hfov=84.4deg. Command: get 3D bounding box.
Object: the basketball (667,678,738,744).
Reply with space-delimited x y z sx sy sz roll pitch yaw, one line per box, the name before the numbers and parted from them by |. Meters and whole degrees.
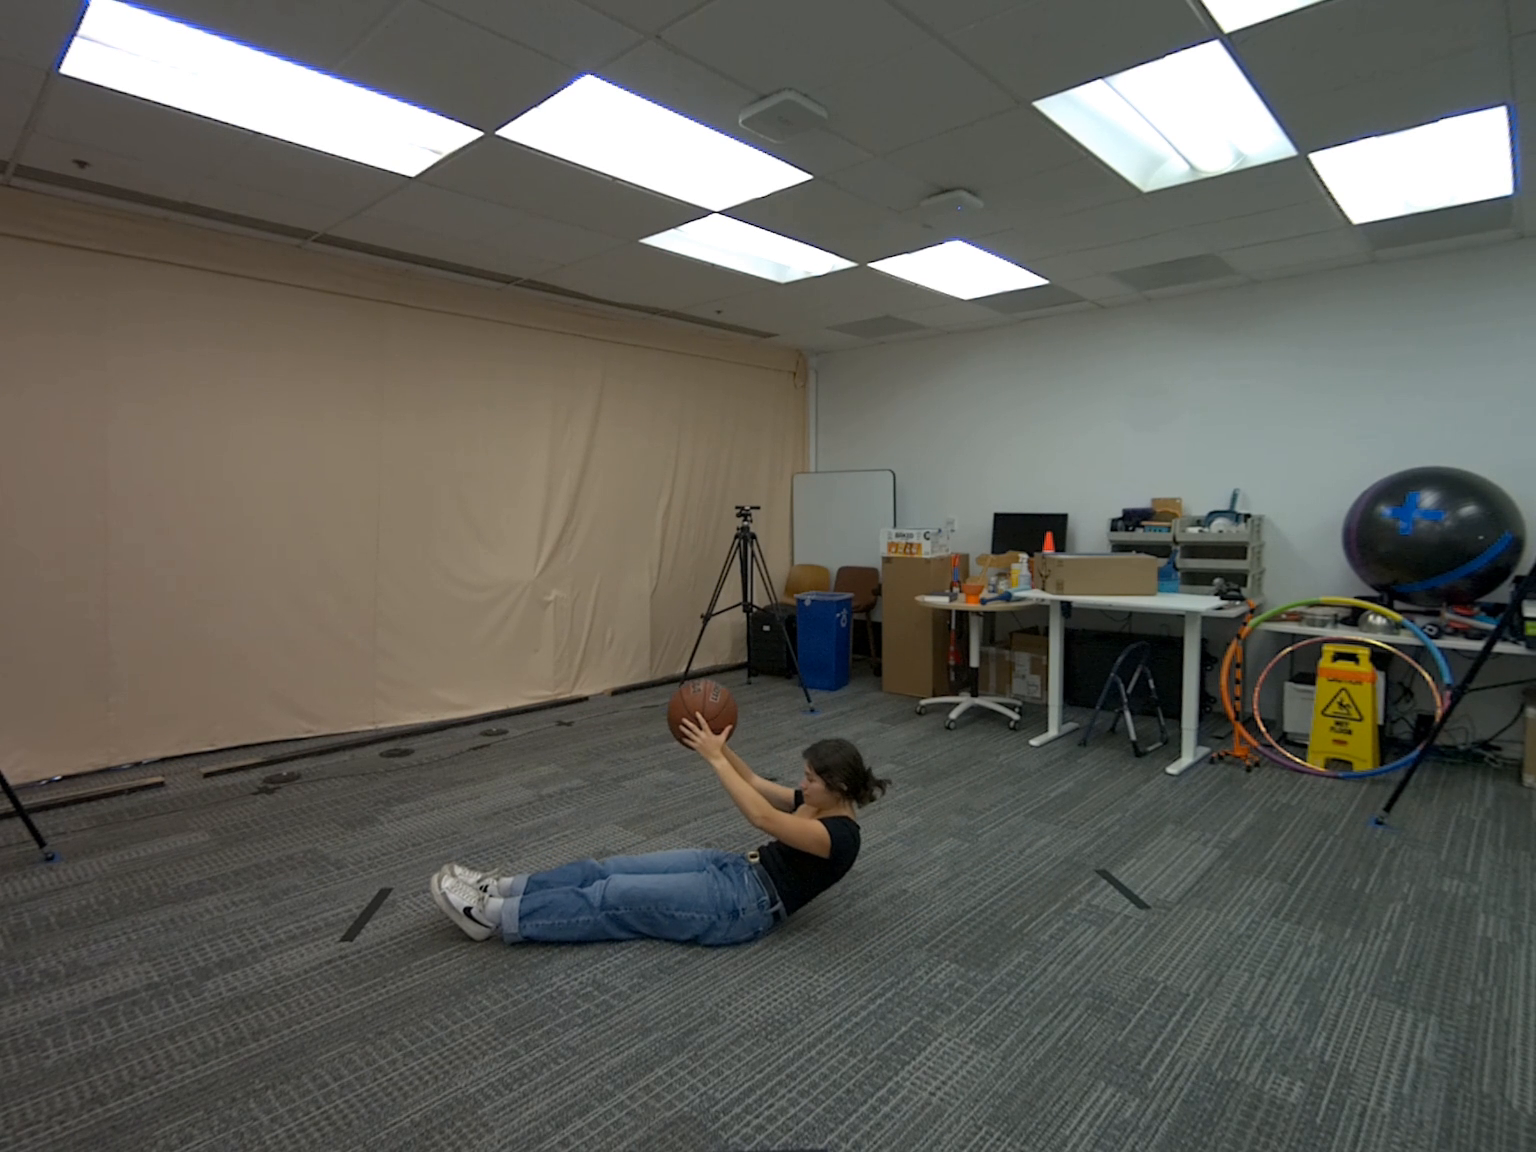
basketball | -0.214 0.460 2.821 0.236 0.235 0.237 0 4 -2
